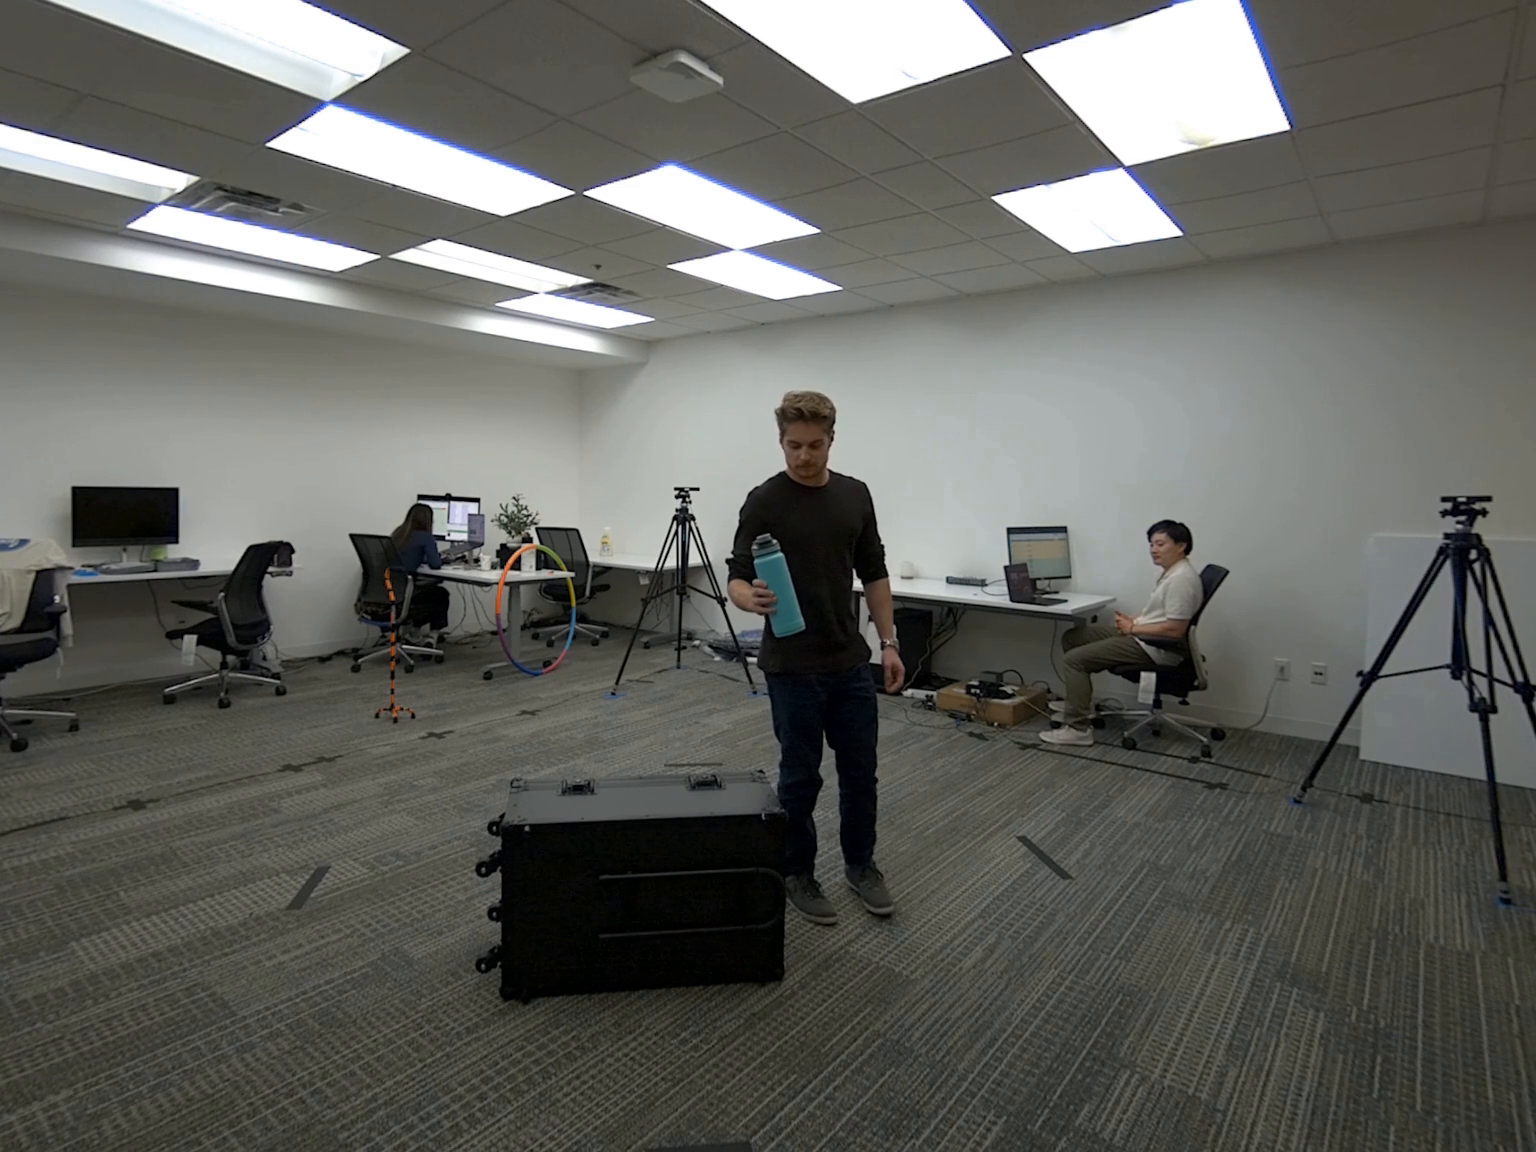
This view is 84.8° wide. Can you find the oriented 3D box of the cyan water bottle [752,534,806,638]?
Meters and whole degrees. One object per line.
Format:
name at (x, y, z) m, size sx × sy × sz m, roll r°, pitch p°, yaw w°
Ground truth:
cyan water bottle at (0.016, 0.019, 2.391) m, size 0.092 × 0.283 × 0.092 m, roll -15°, pitch 0°, yaw -1°
